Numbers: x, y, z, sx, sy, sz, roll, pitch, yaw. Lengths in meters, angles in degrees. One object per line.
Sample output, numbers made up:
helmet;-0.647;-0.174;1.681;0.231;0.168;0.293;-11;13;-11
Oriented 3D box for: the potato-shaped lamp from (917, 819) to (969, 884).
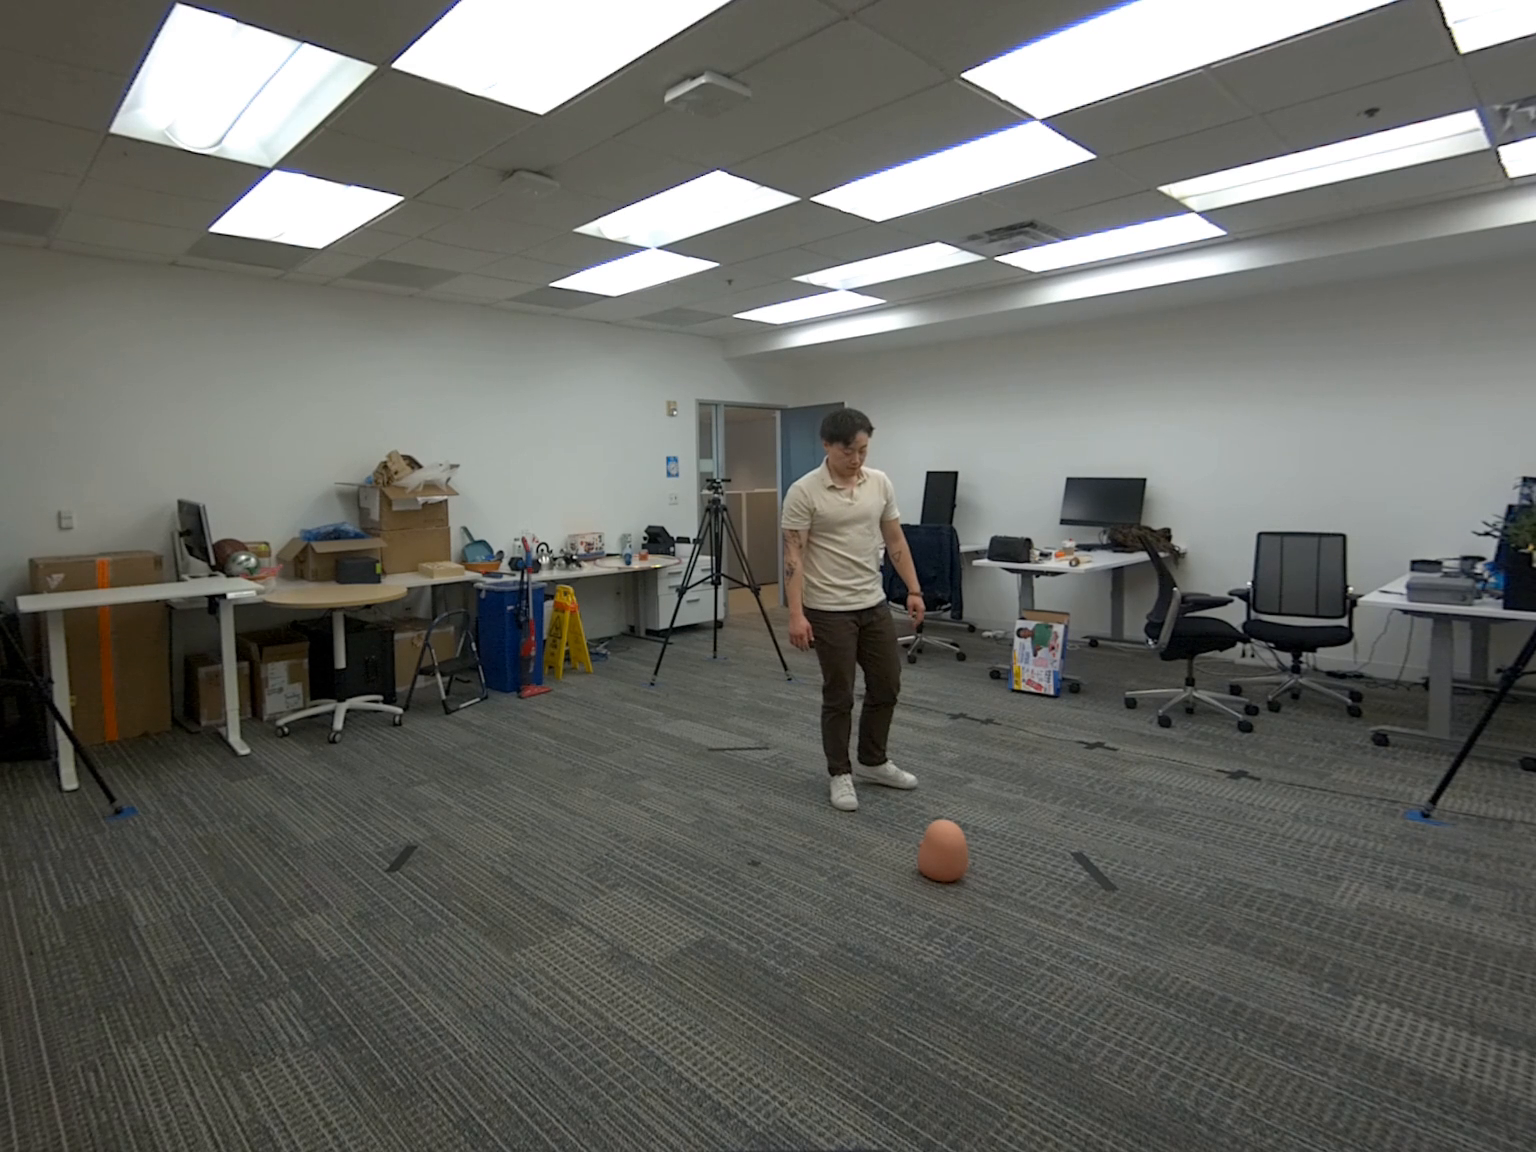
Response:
potato-shaped lamp;0.613;0.950;2.969;0.161;0.197;0.175;-3;4;-24
